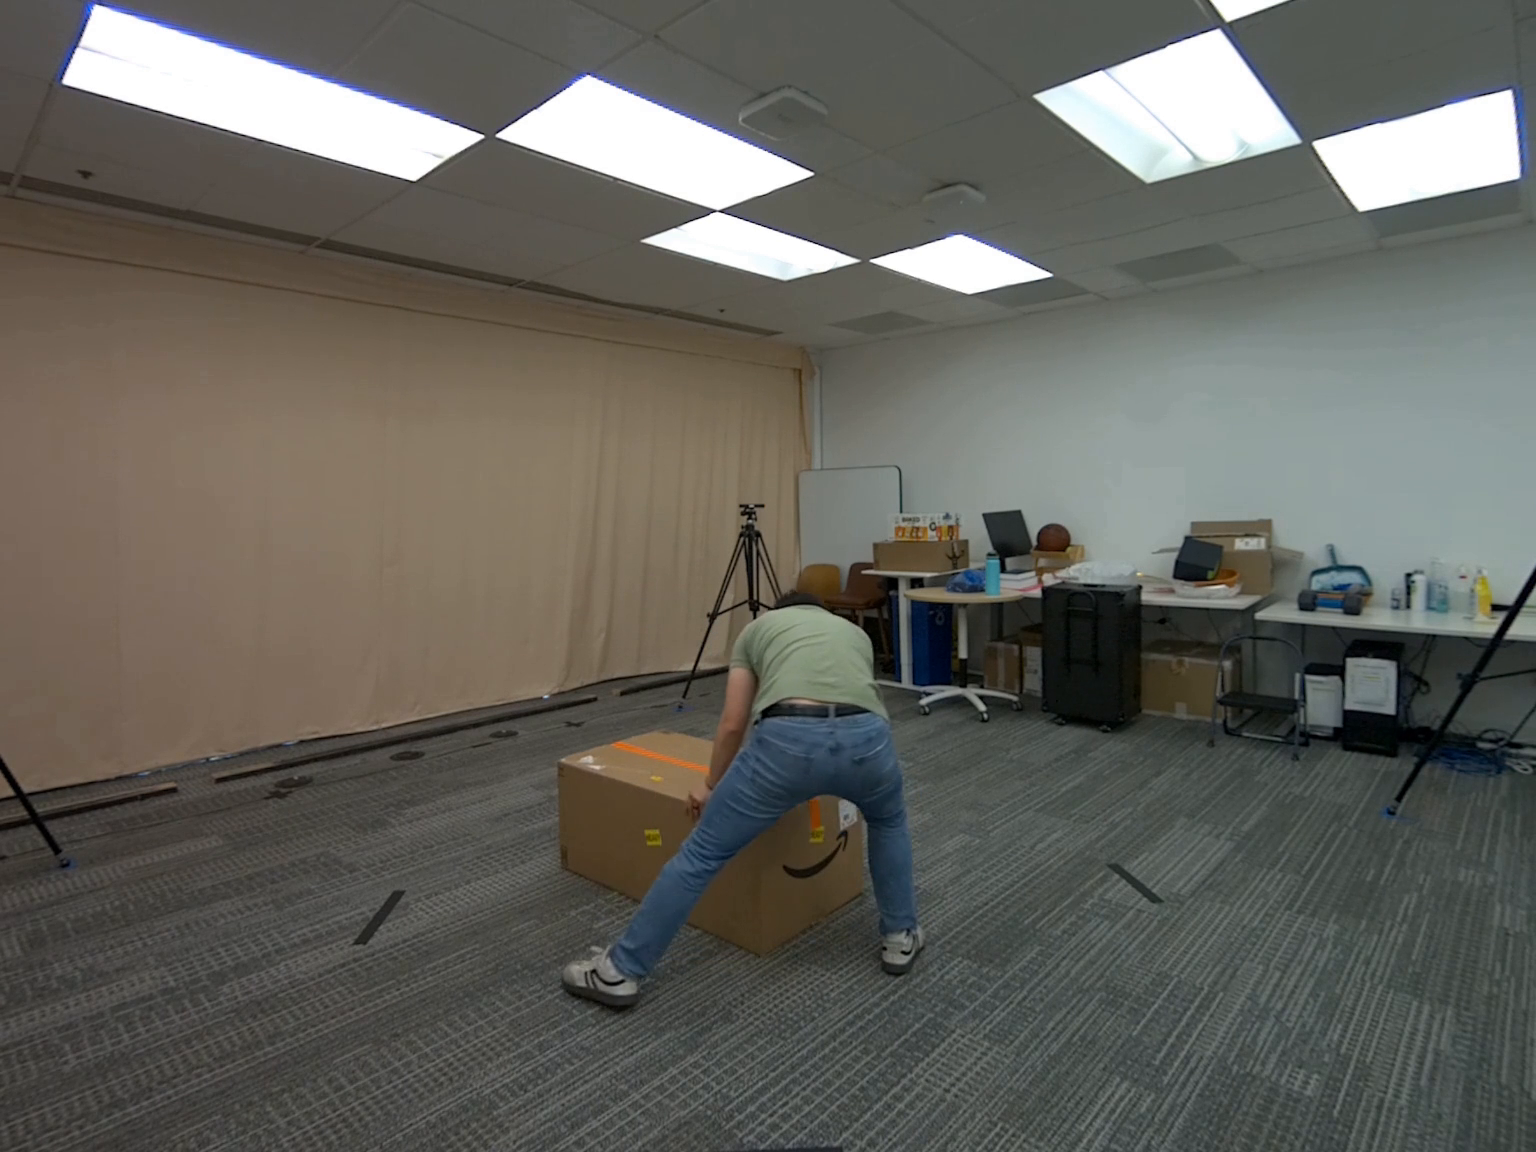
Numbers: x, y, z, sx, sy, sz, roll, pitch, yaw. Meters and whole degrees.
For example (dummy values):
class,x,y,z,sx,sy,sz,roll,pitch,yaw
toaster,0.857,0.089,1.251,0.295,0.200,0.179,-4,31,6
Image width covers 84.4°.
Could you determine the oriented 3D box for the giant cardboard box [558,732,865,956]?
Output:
class,x,y,z,sx,sy,sz,roll,pitch,yaw
giant cardboard box,-0.236,0.919,3.129,1.060,0.425,0.560,3,6,41
